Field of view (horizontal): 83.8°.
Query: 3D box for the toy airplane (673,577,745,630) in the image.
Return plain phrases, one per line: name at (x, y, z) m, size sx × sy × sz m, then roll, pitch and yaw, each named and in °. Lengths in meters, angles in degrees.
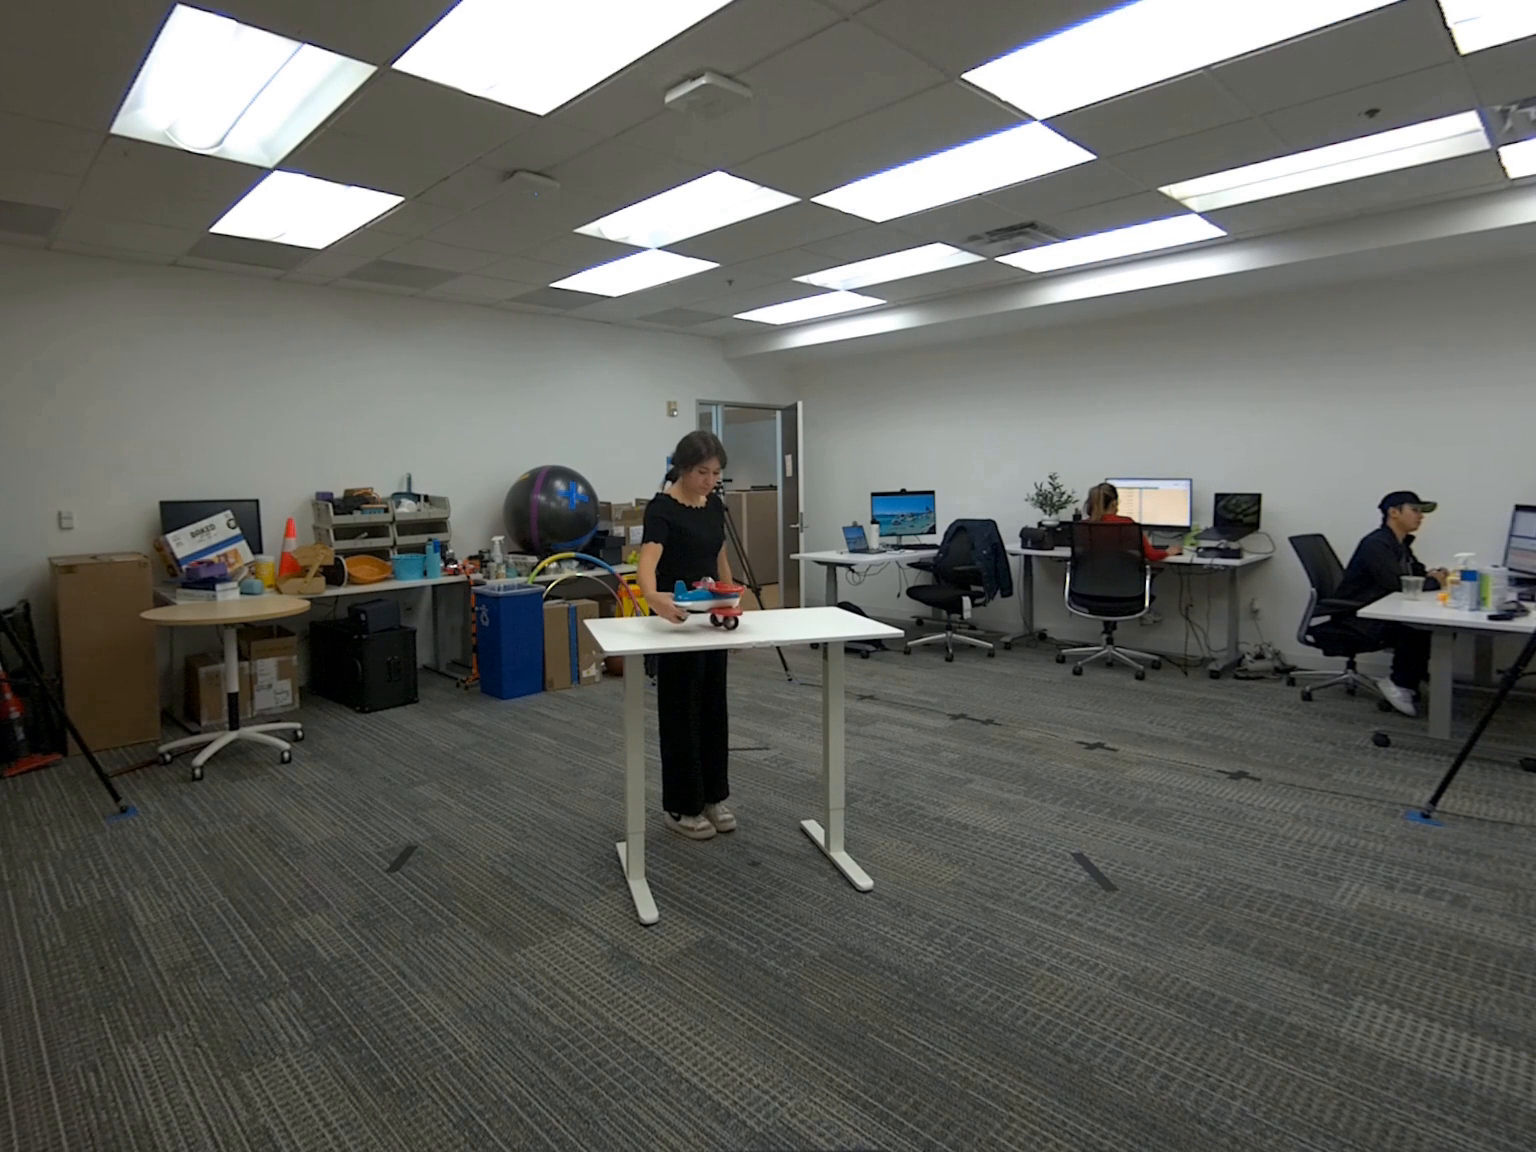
toy airplane at (-0.198, 0.093, 2.910) m, size 0.258 × 0.157 × 0.251 m, roll 9°, pitch -4°, yaw 28°
